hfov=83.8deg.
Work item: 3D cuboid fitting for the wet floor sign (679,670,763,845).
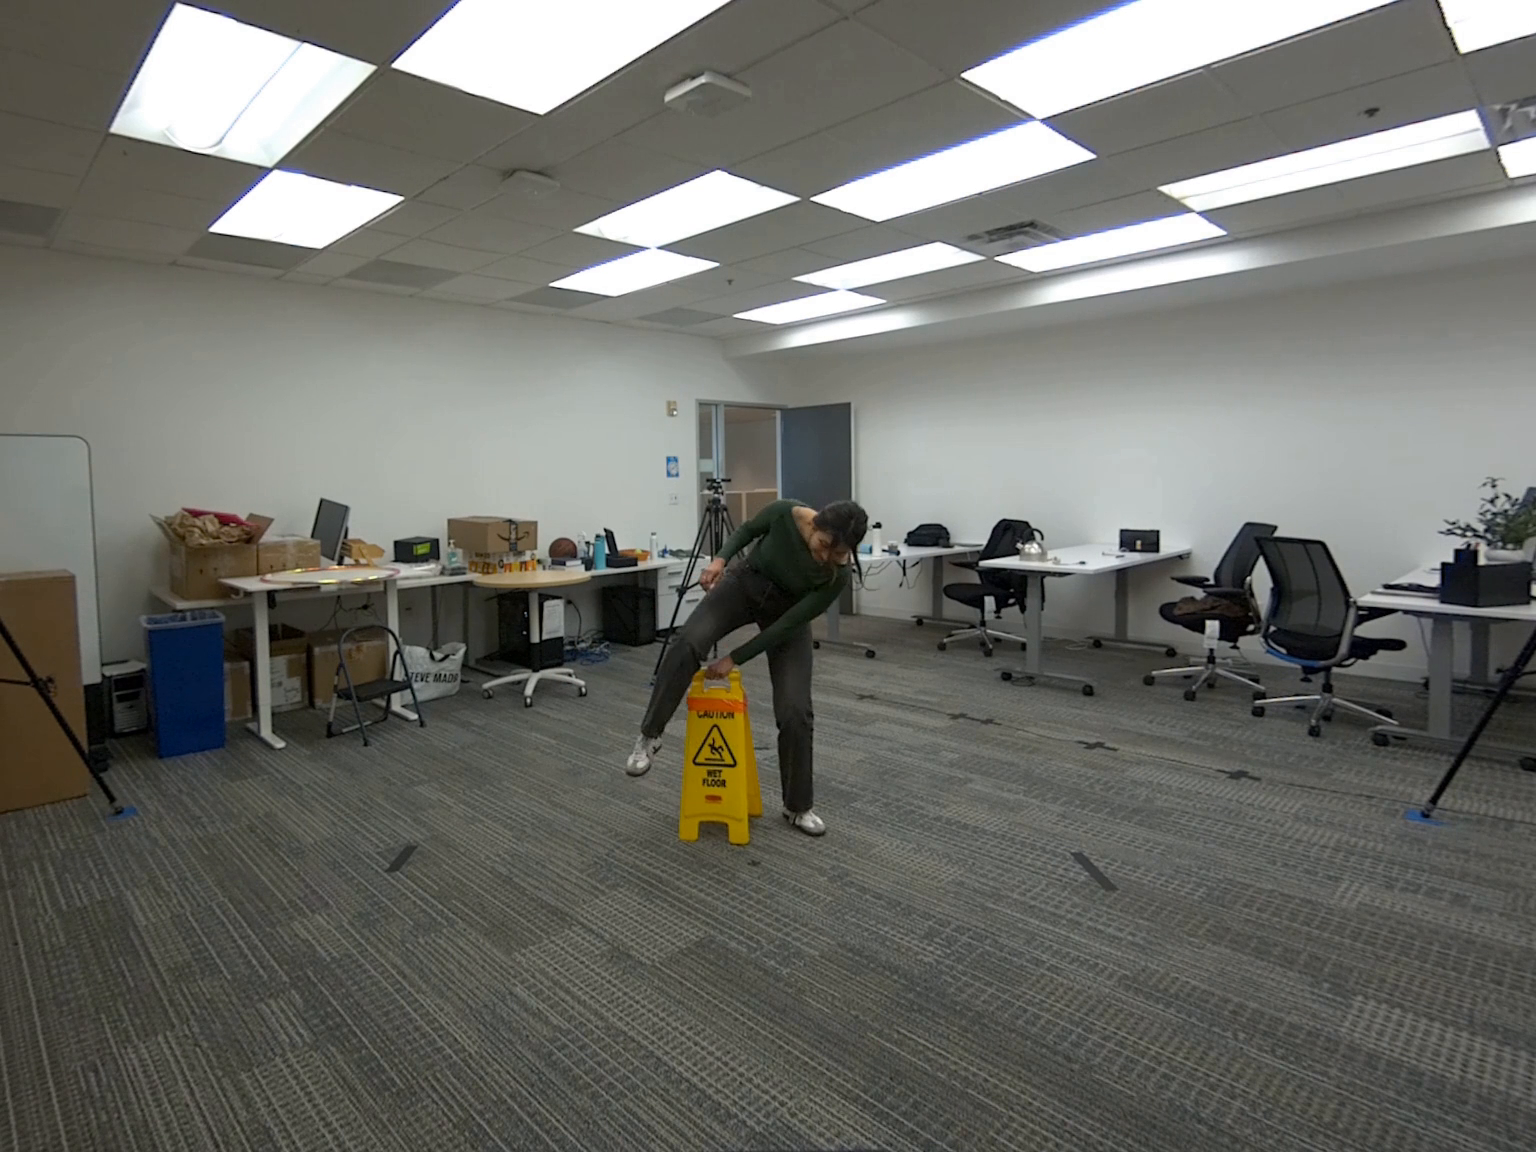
[{"bbox_3d":[-0.195,0.691,3.408,0.285,0.644,0.287,0,4,11],"label":"wet floor sign"}]
